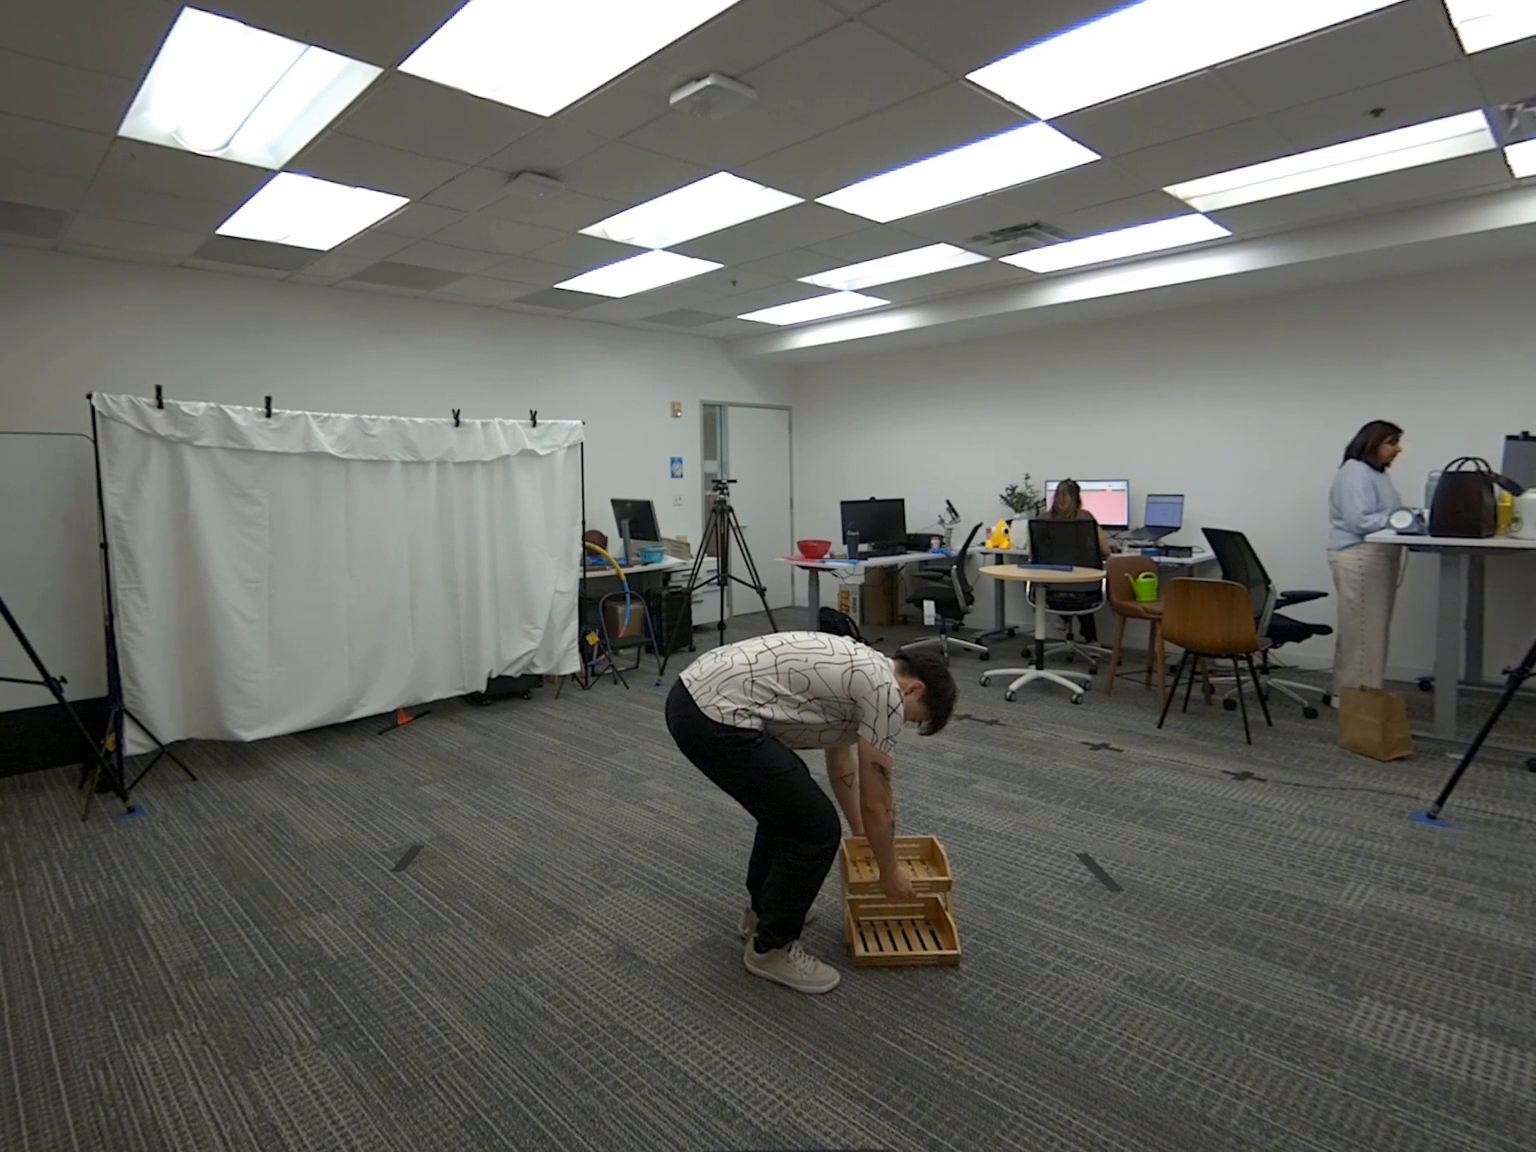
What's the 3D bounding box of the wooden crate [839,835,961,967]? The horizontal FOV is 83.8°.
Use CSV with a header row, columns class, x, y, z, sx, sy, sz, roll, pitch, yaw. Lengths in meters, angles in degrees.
class,x,y,z,sx,sy,sz,roll,pitch,yaw
wooden crate,0.391,0.967,2.556,0.324,0.272,0.304,-1,6,-2
